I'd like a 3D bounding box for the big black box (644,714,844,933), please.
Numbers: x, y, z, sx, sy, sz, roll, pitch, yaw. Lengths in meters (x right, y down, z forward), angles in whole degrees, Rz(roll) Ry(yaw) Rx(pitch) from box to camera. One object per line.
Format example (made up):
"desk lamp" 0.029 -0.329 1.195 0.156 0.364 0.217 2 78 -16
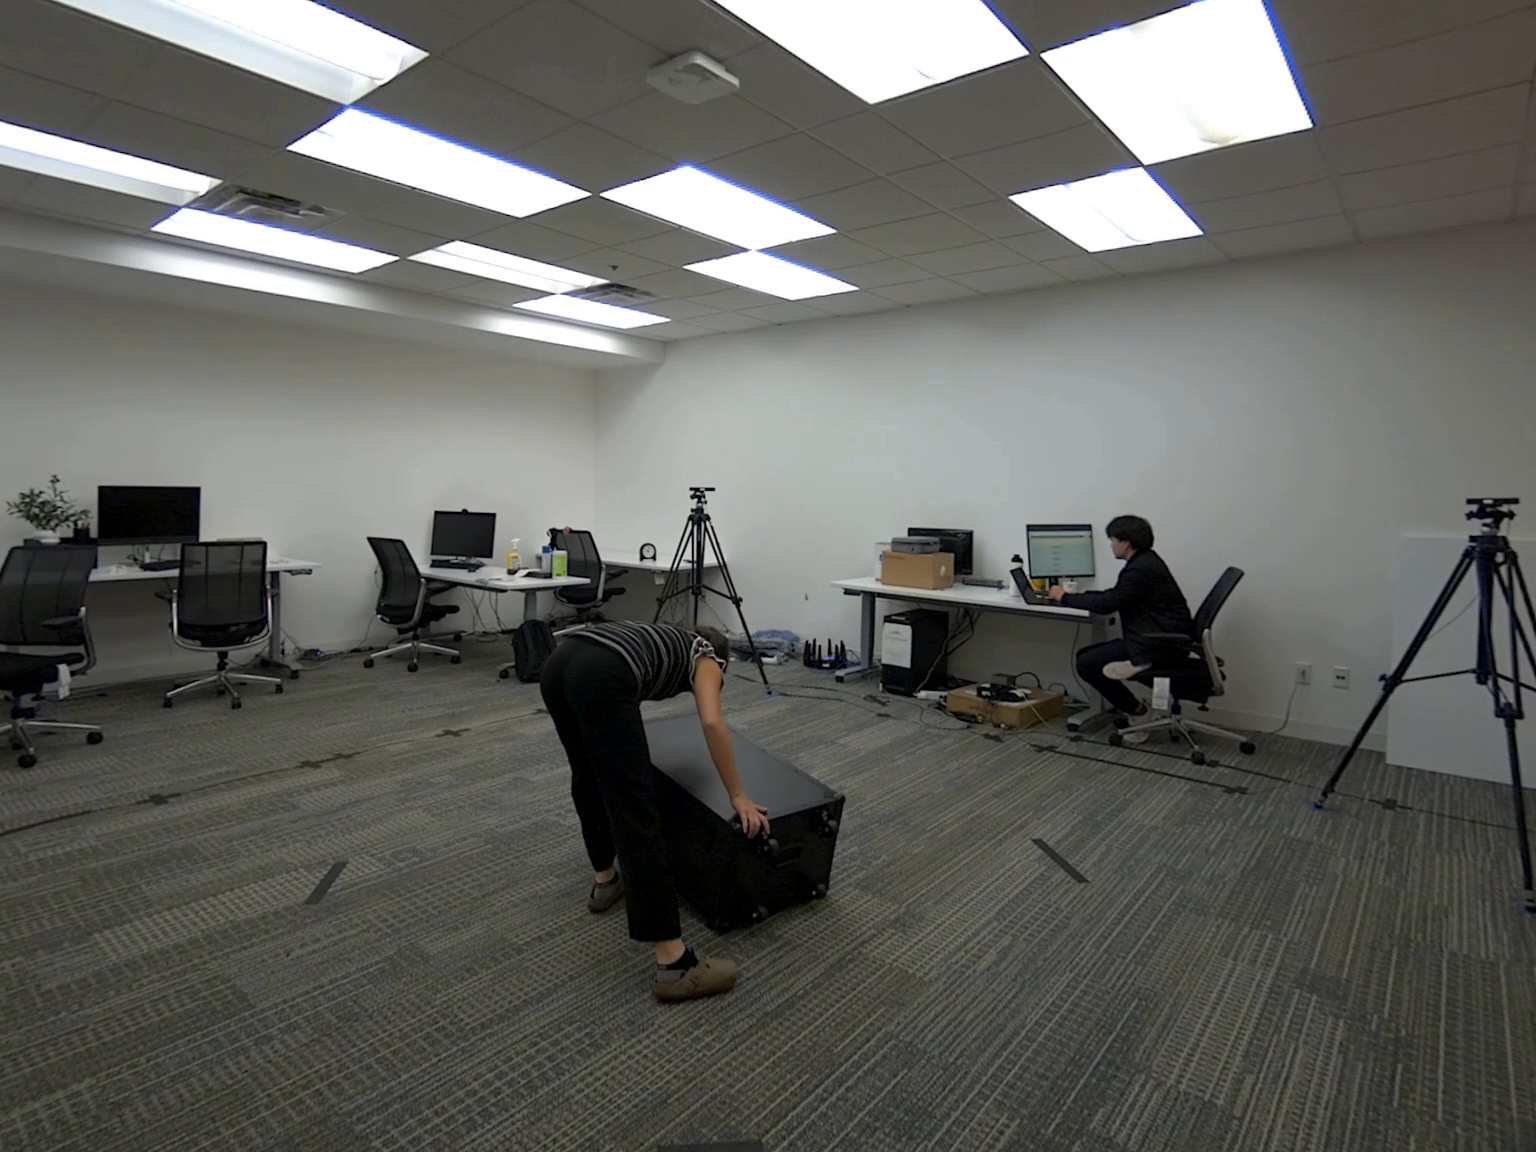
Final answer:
"big black box" -0.188 0.834 3.017 0.506 0.392 0.896 -3 16 -40
